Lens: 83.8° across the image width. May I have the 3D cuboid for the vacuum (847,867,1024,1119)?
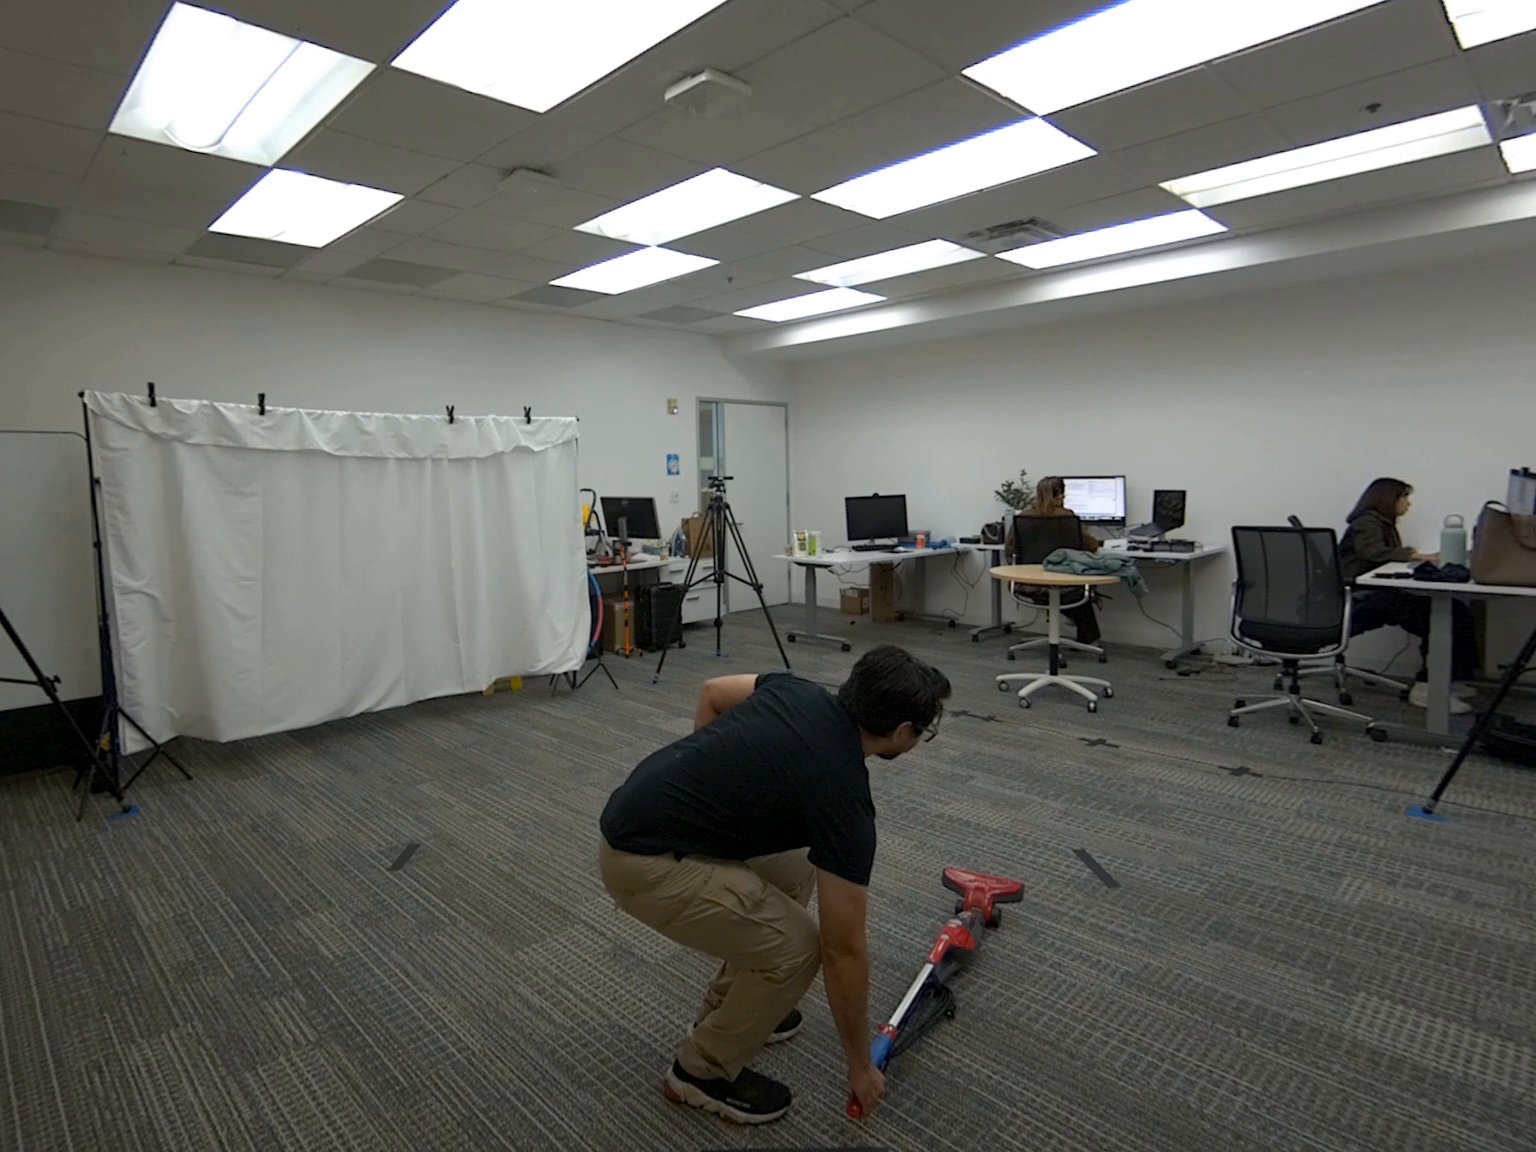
[{"bbox_3d":[0.439,1.070,2.244,0.259,0.143,1.027,3,7,28],"label":"vacuum"}]
